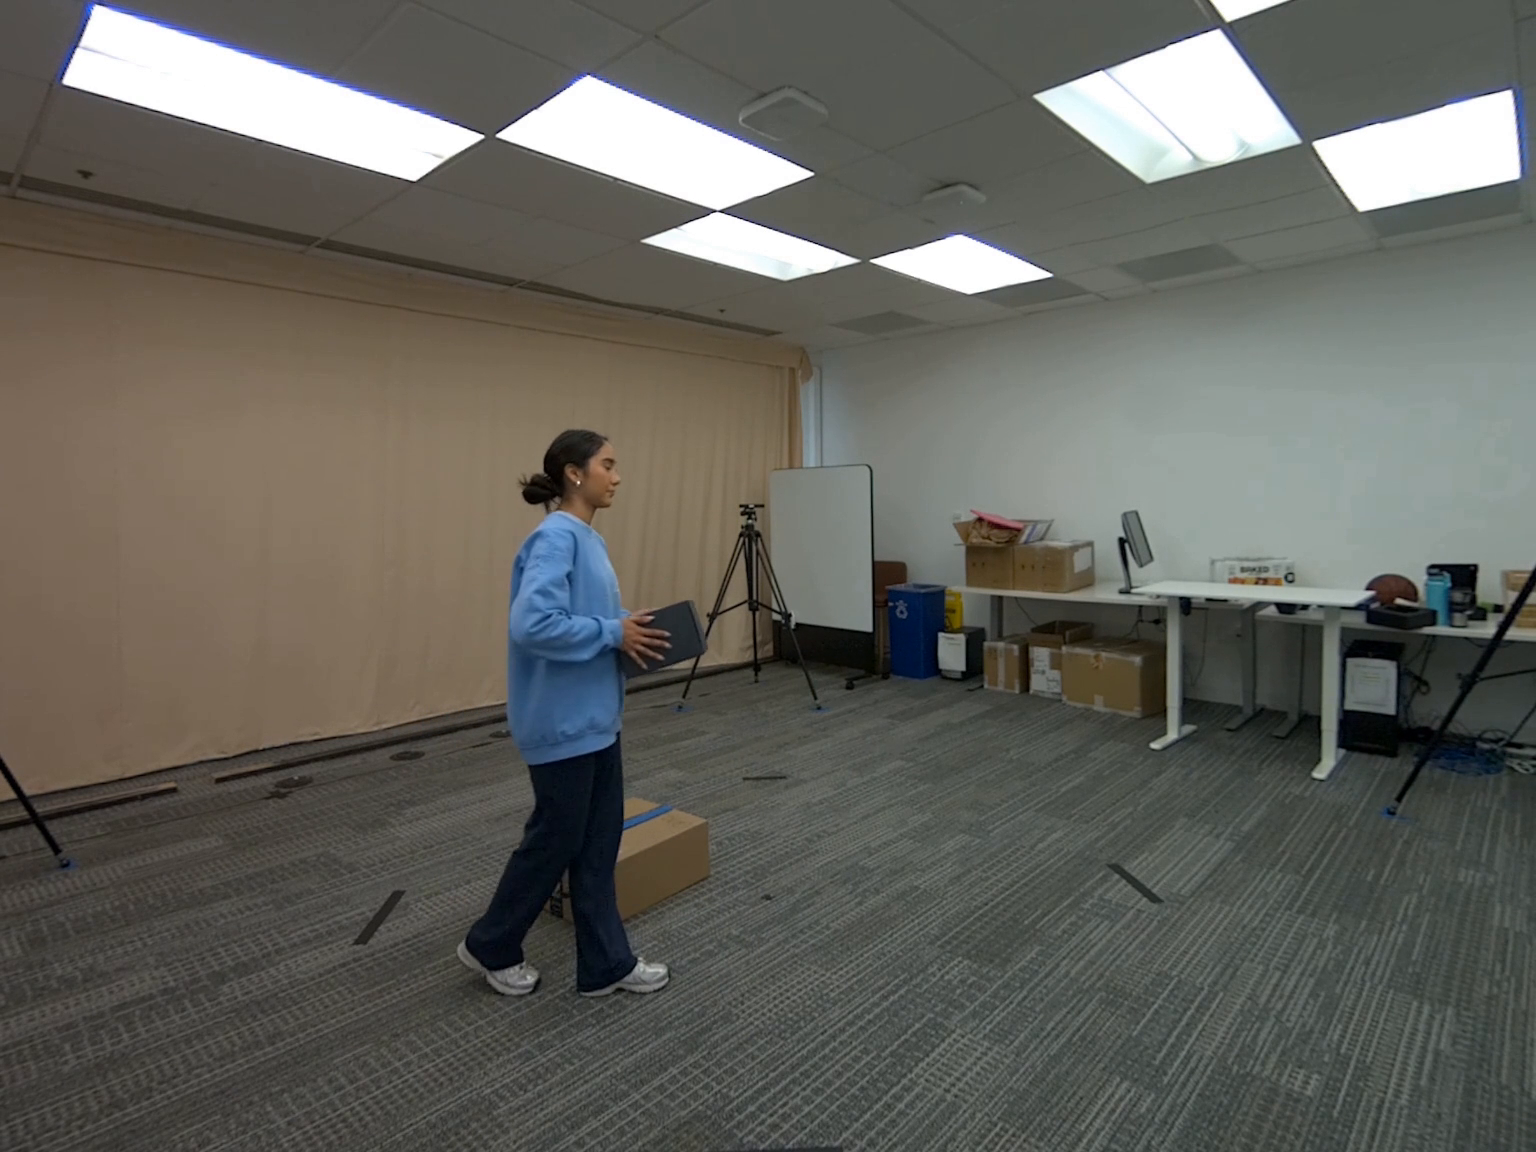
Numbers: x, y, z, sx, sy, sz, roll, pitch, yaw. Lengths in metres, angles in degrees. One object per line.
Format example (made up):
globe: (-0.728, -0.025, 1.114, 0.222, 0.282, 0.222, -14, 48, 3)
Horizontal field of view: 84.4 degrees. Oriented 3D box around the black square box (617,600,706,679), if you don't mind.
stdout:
black square box: (-0.312, 0.177, 2.375, 0.228, 0.156, 0.216, -19, -2, 2)
